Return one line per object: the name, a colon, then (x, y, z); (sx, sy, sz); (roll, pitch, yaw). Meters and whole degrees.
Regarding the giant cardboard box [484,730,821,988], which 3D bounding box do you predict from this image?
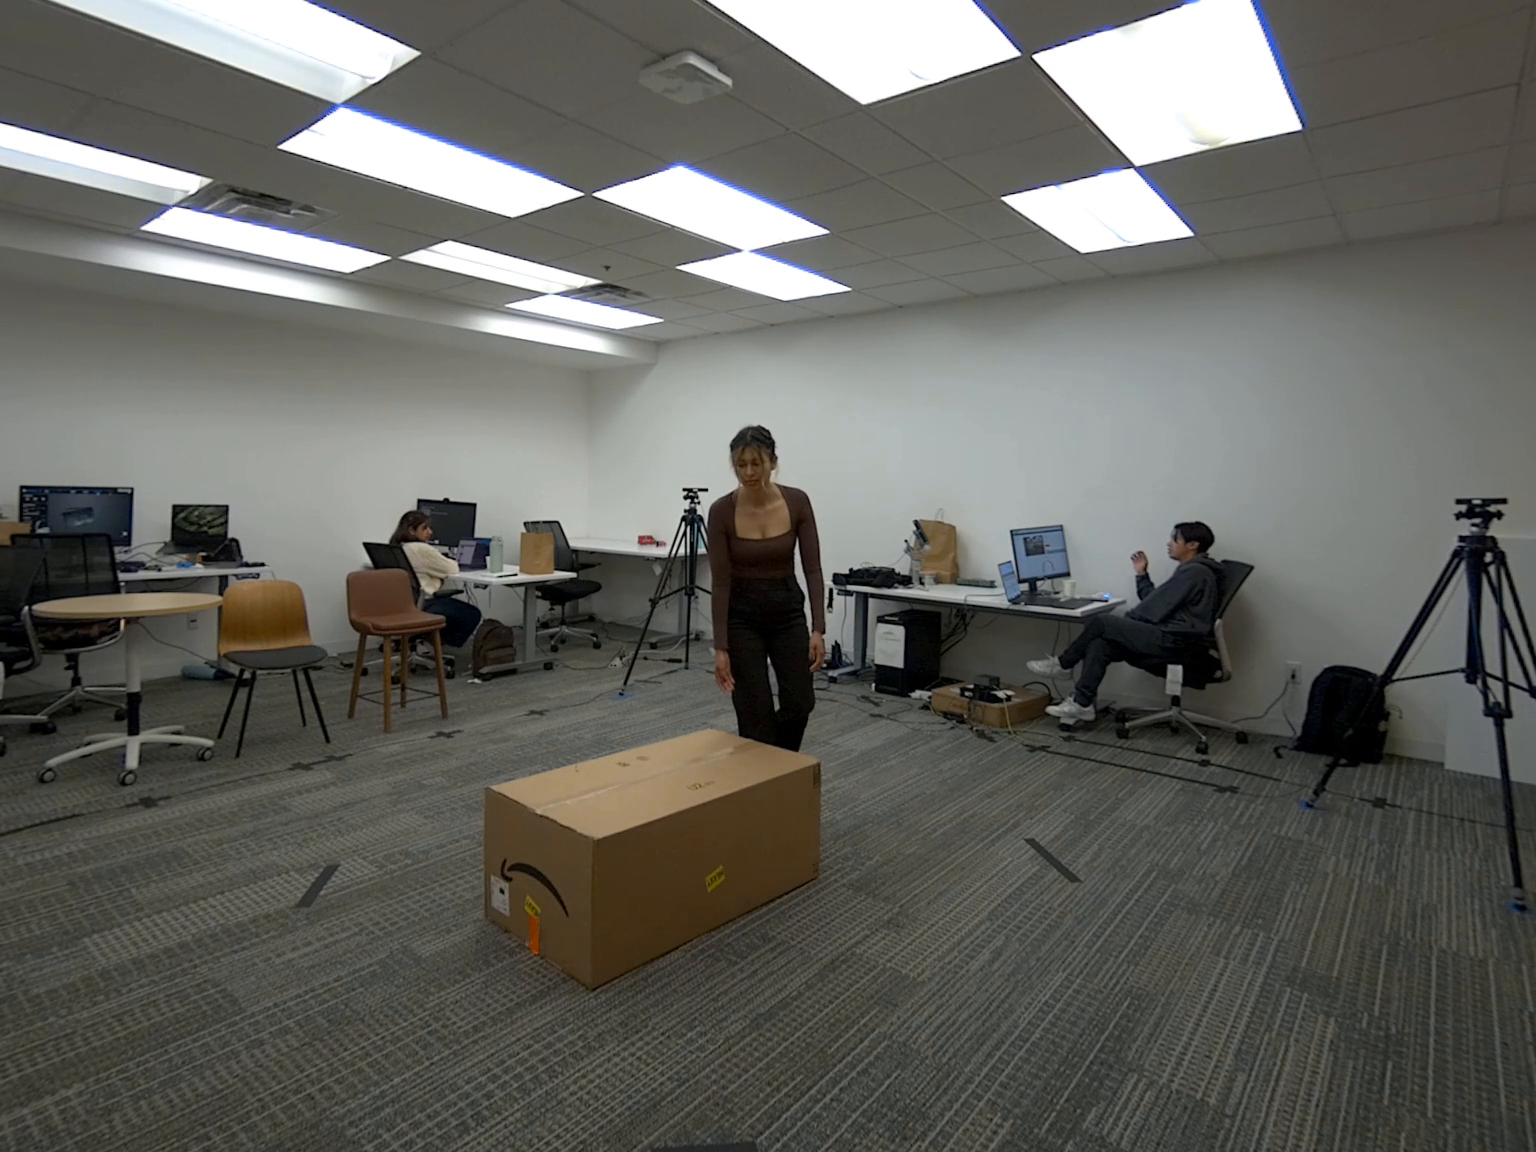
giant cardboard box: (-0.371, 0.879, 2.883); (0.604, 0.445, 0.997); (6, 8, 43)
